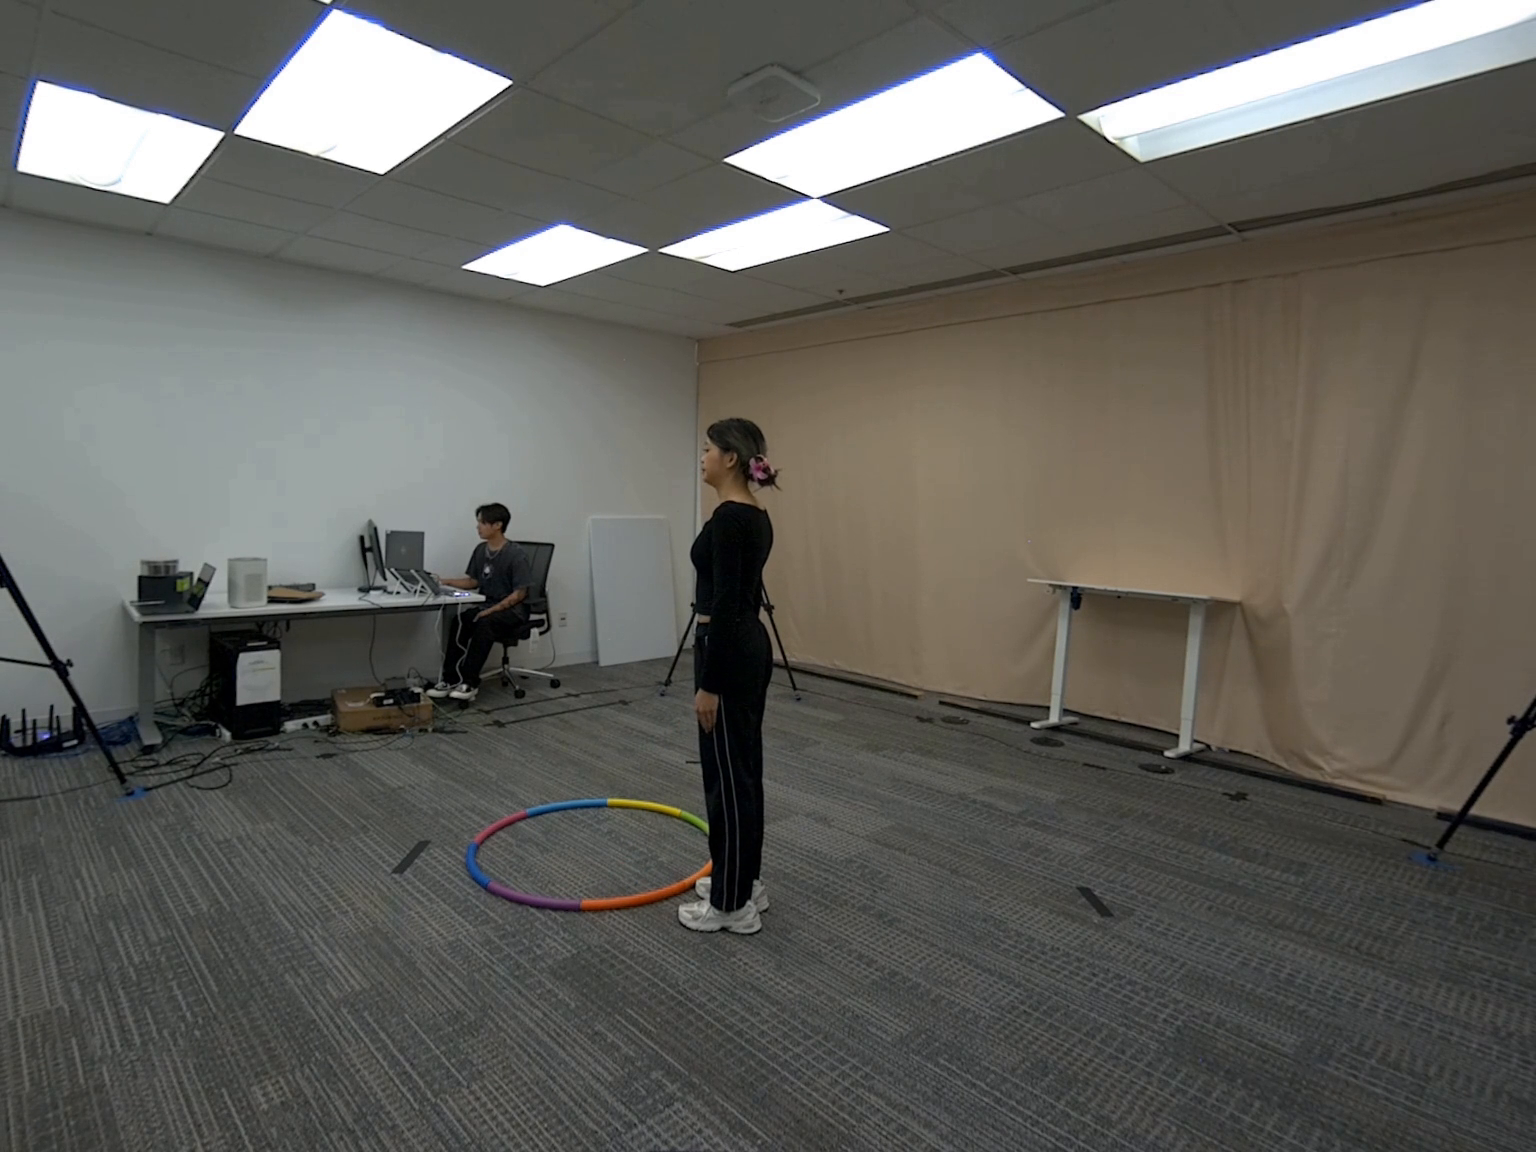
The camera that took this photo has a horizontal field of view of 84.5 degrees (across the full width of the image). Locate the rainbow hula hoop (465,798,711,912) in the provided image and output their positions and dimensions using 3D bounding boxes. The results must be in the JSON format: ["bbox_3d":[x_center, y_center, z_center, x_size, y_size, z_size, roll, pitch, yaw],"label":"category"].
[{"bbox_3d":[-0.674,1.047,3.298,0.978,0.035,0.982,1,5,-1],"label":"rainbow hula hoop"}]
